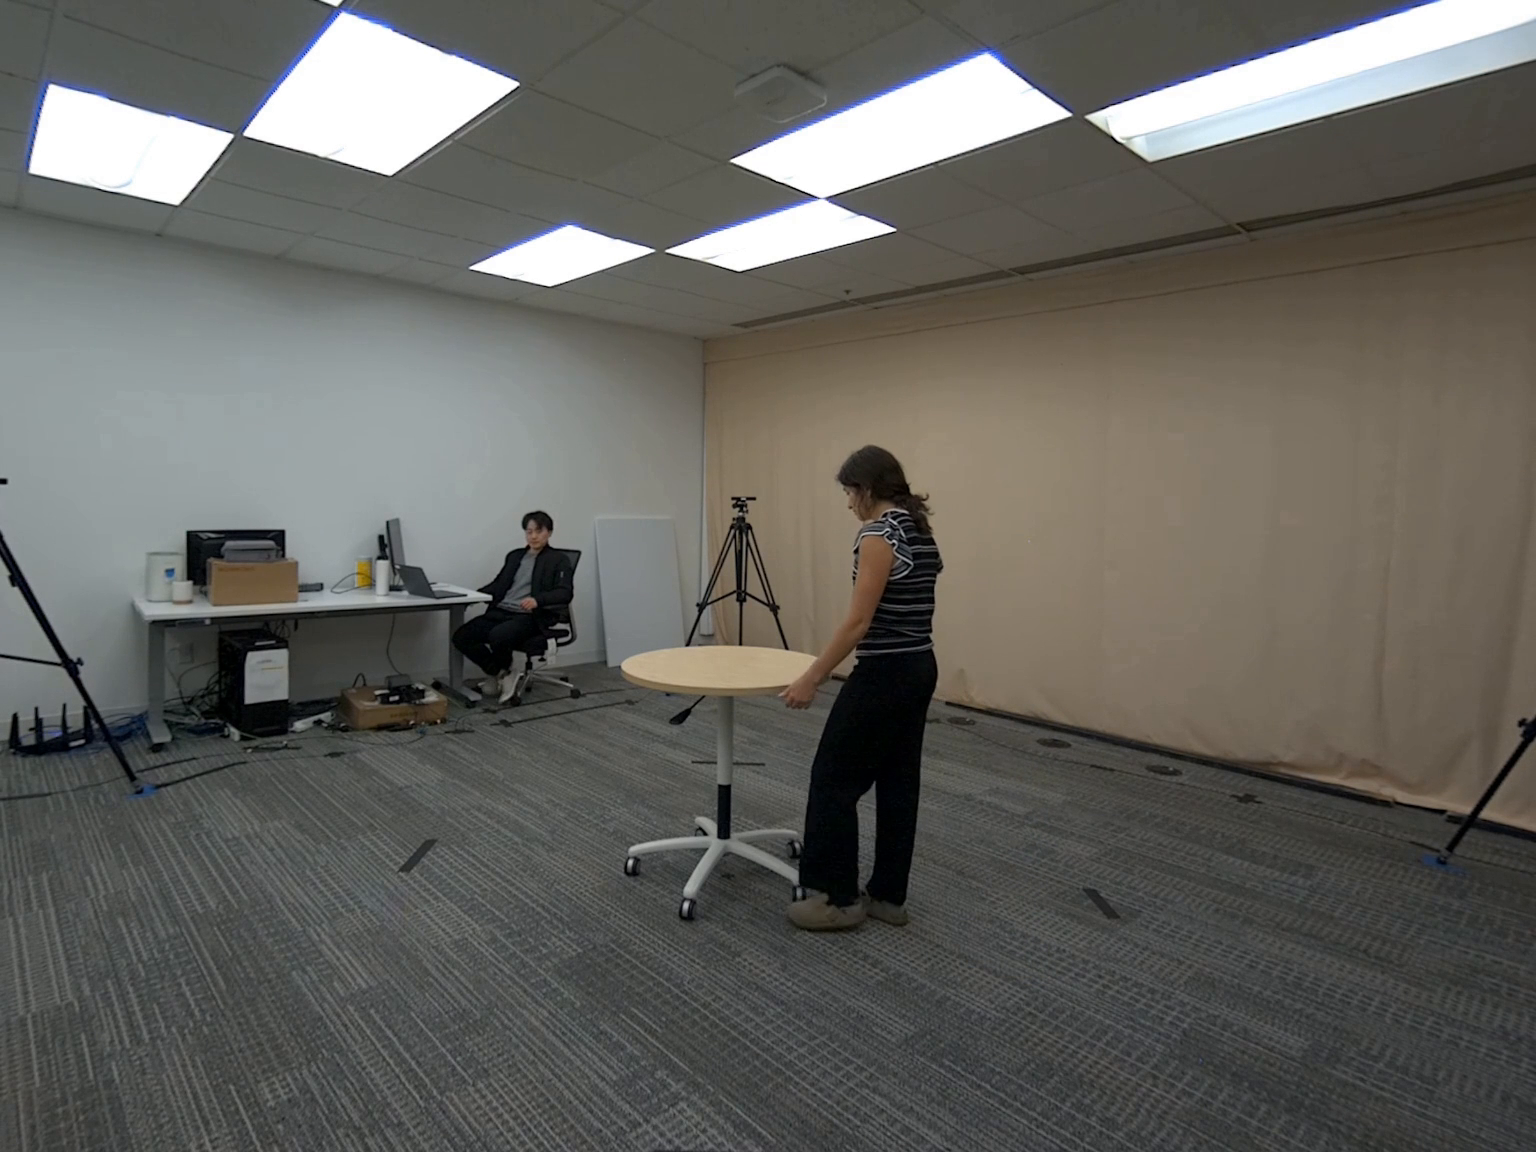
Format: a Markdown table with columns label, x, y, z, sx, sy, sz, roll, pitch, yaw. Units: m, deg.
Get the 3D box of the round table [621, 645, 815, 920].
| label | x | y | z | sx | sy | sz | roll | pitch | yaw |
| --- | --- | --- | --- | --- | --- | --- | --- | --- | --- |
| round table | -0.166 | 0.716 | 3.098 | 0.763 | 0.792 | 0.766 | 1 | 4 | -1 |
